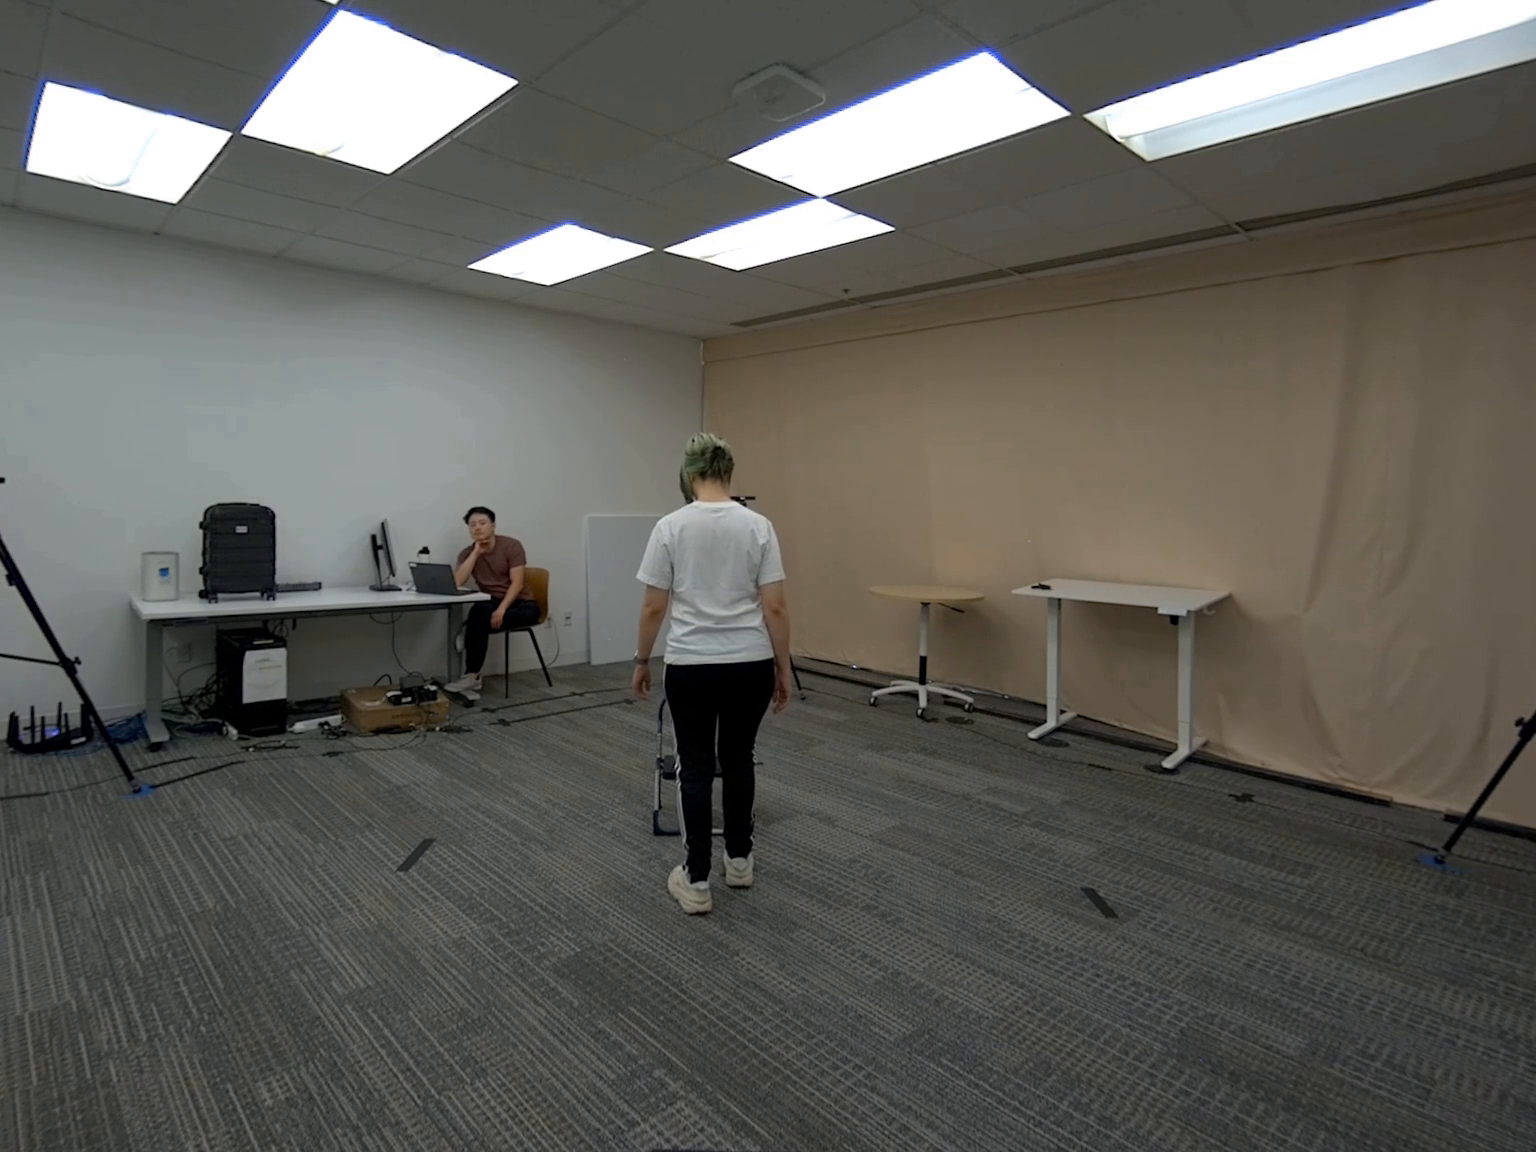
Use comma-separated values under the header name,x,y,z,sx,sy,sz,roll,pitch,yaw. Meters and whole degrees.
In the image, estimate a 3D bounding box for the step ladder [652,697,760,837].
name,x,y,z,sx,sy,sz,roll,pitch,yaw
step ladder,-0.279,0.760,3.611,0.429,0.605,0.351,1,3,-5
